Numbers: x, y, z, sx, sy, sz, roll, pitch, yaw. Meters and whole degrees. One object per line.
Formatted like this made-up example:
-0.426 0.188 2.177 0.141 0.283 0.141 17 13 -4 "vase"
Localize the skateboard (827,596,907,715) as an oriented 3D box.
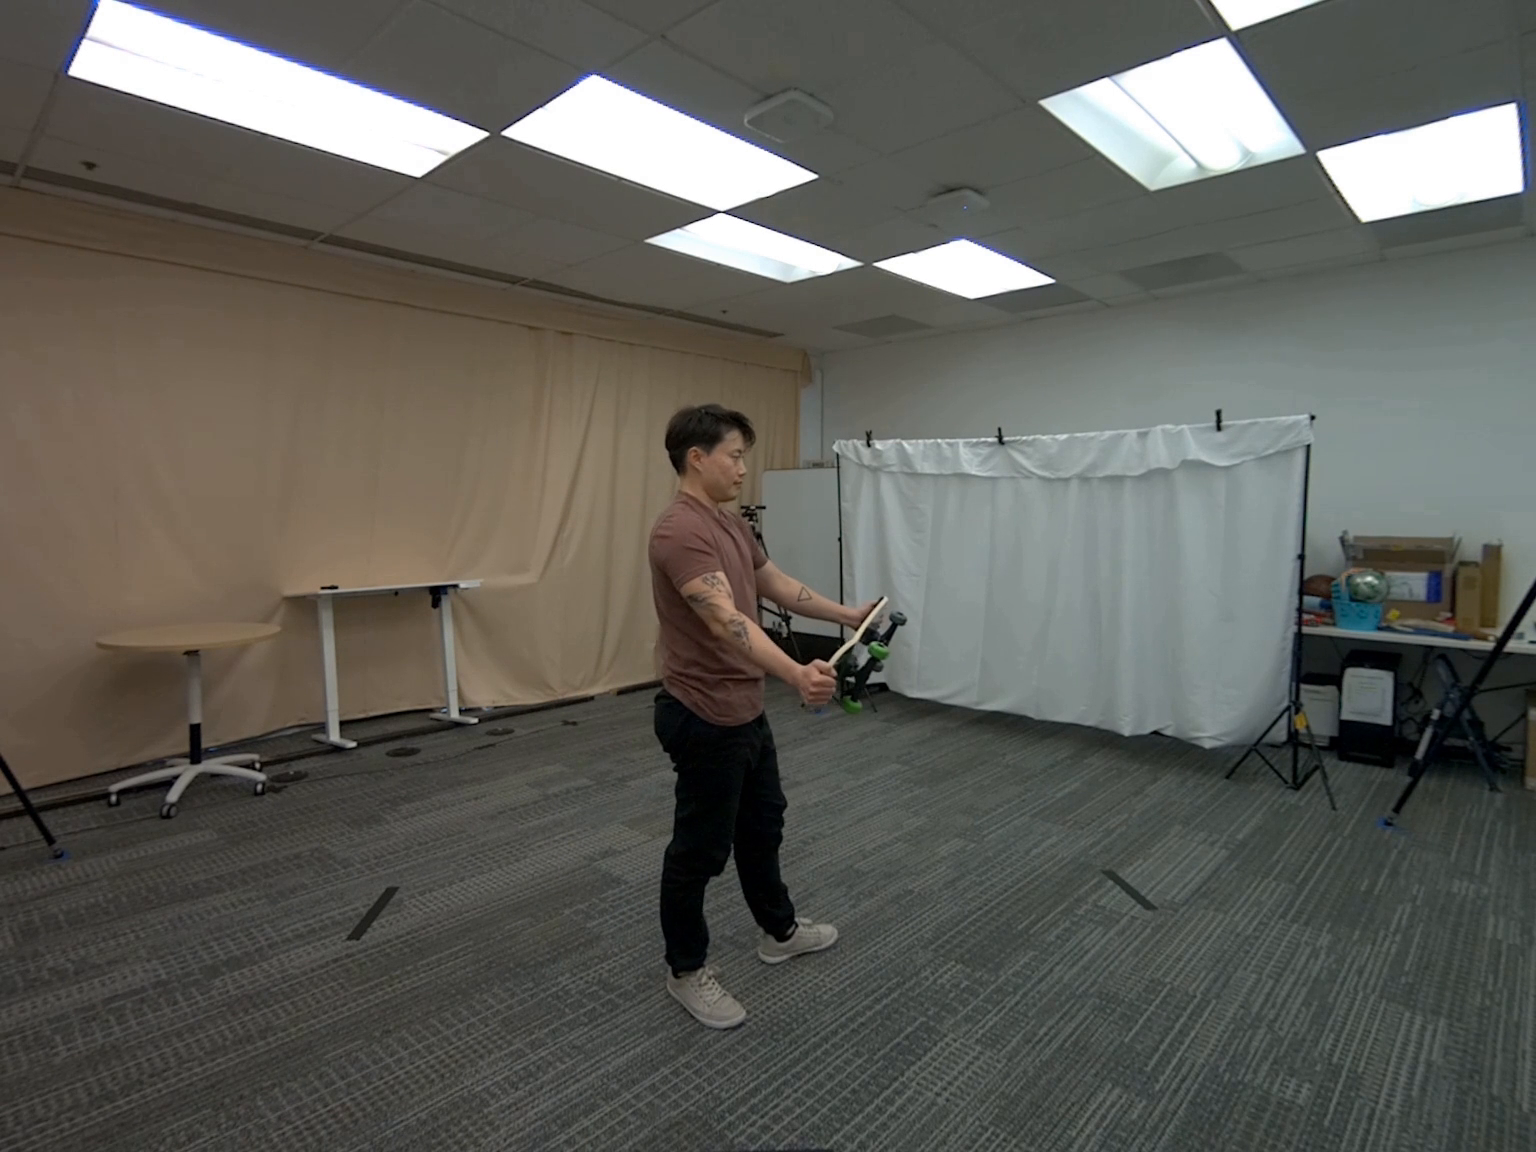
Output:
0.271 0.205 2.235 0.112 0.193 0.774 26 15 12 "skateboard"
